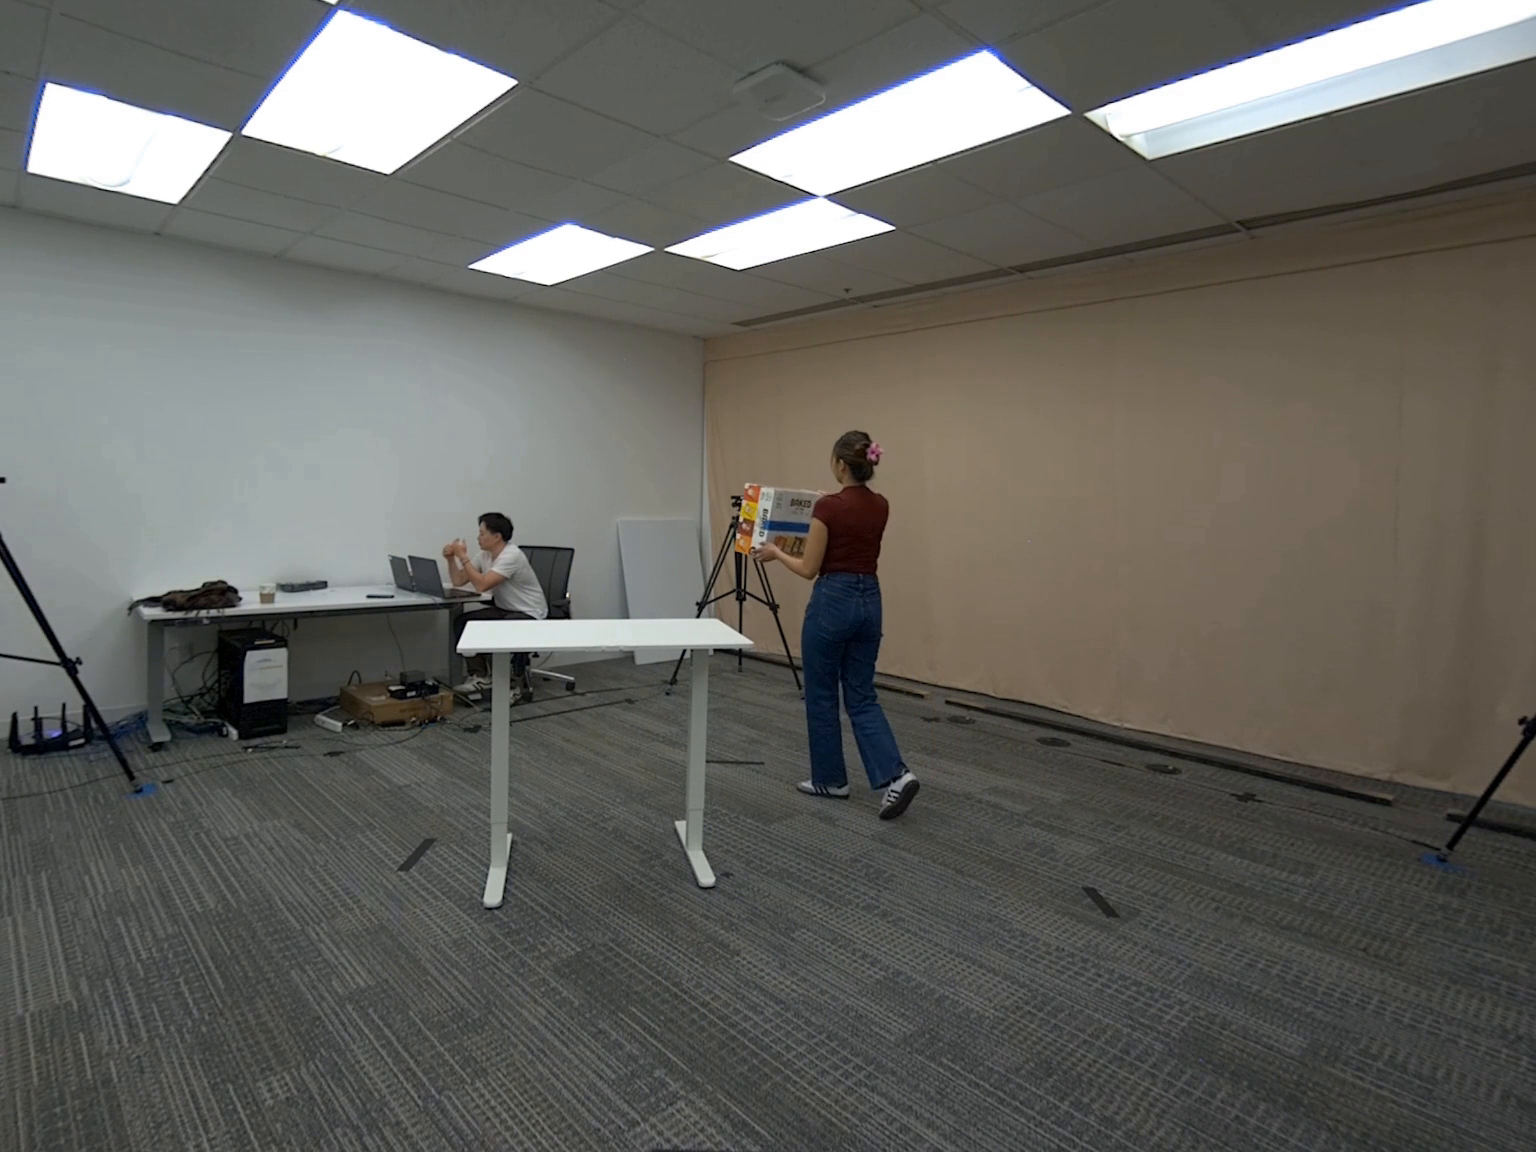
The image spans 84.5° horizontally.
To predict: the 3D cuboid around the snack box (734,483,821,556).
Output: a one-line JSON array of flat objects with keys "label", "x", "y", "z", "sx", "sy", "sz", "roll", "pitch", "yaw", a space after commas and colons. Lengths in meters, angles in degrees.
[{"label": "snack box", "x": 0.063, "y": -0.267, "z": 4.185, "sx": 0.395, "sy": 0.339, "sz": 0.212, "roll": 2, "pitch": 12, "yaw": -45}]
